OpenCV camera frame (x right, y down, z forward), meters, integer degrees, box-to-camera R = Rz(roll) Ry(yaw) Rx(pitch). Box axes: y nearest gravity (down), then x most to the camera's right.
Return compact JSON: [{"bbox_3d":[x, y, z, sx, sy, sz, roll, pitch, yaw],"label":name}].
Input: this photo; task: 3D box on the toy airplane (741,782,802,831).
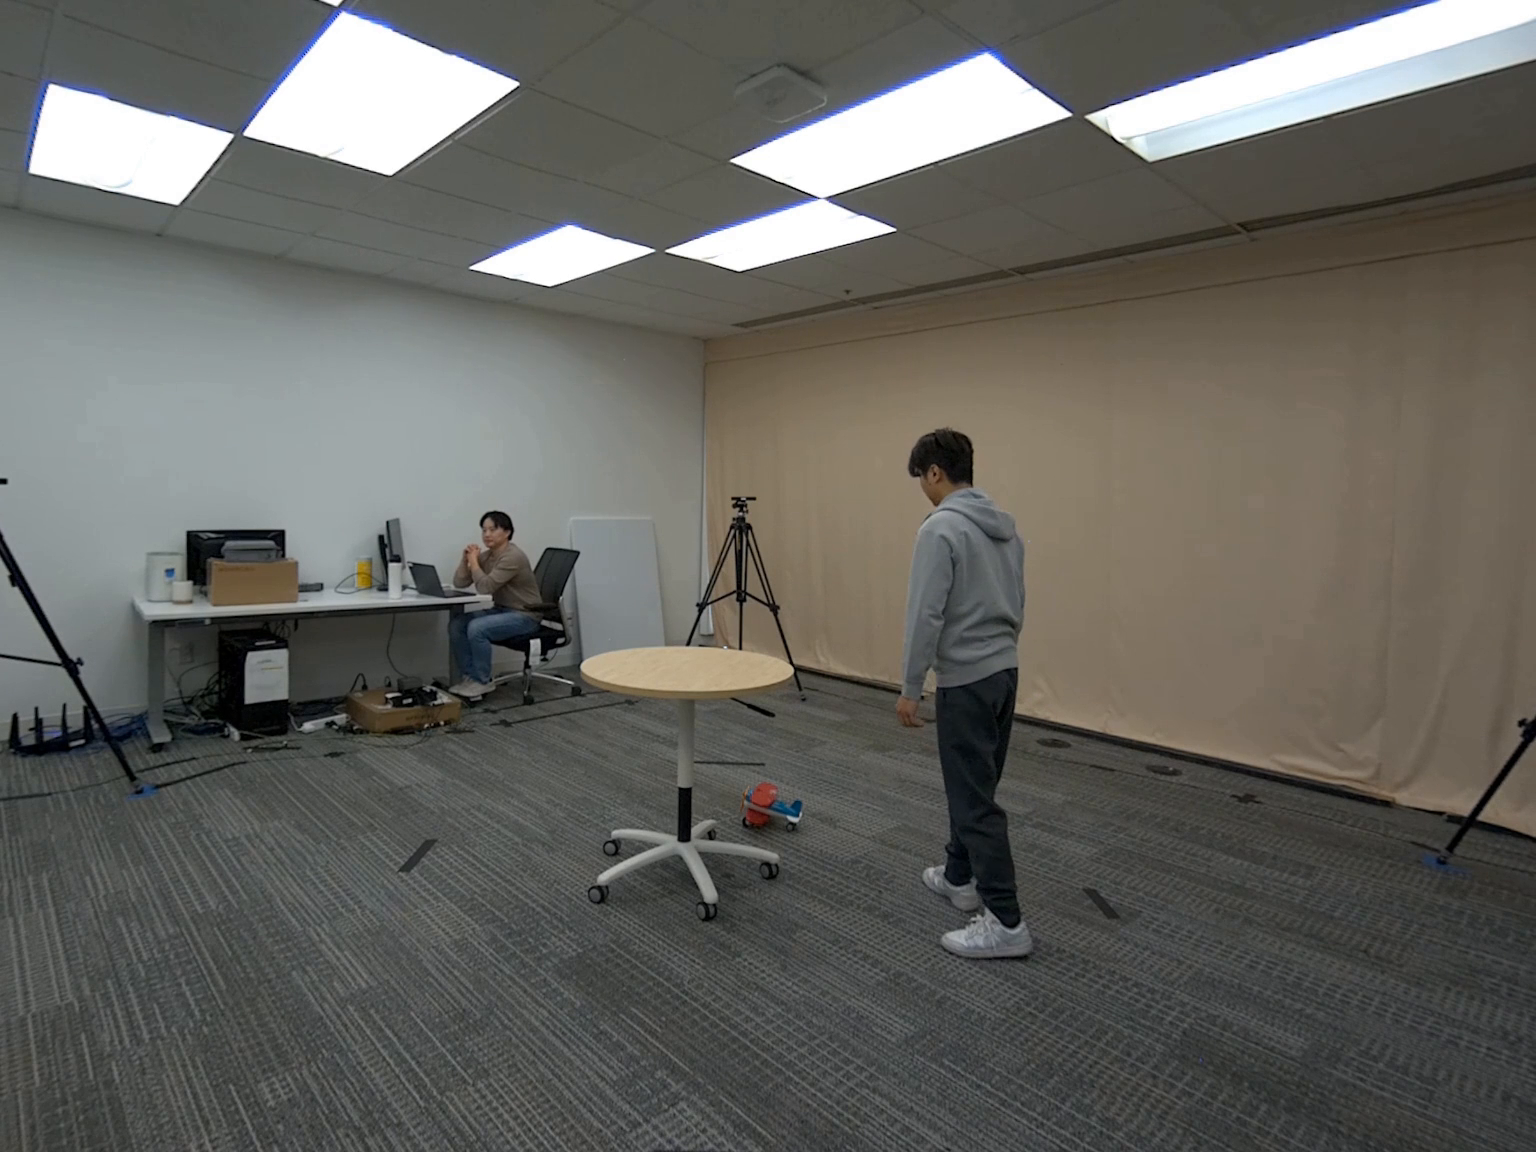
[{"bbox_3d":[0.004,0.992,3.602,0.256,0.156,0.254,0,5,-14],"label":"toy airplane"}]
